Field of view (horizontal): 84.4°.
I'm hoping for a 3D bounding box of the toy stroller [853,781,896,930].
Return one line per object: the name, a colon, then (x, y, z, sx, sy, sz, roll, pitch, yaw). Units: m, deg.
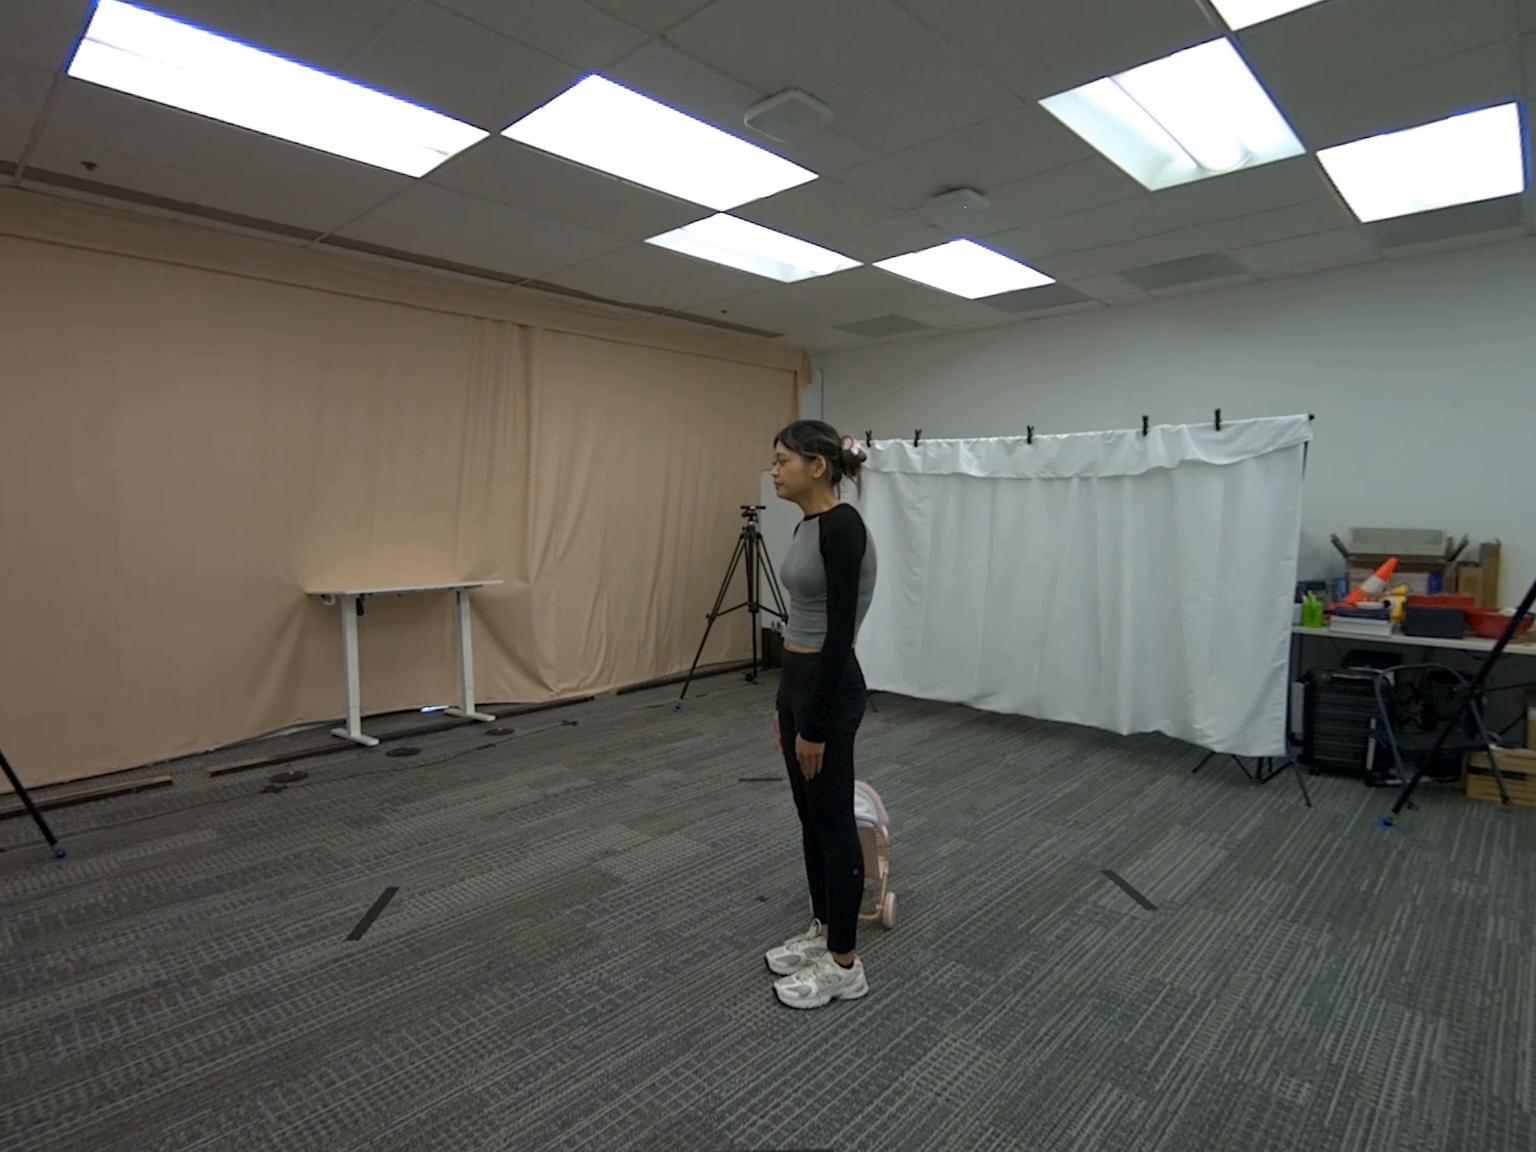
toy stroller: (0.303, 0.928, 2.869, 0.288, 0.528, 0.338, 1, 20, 20)
